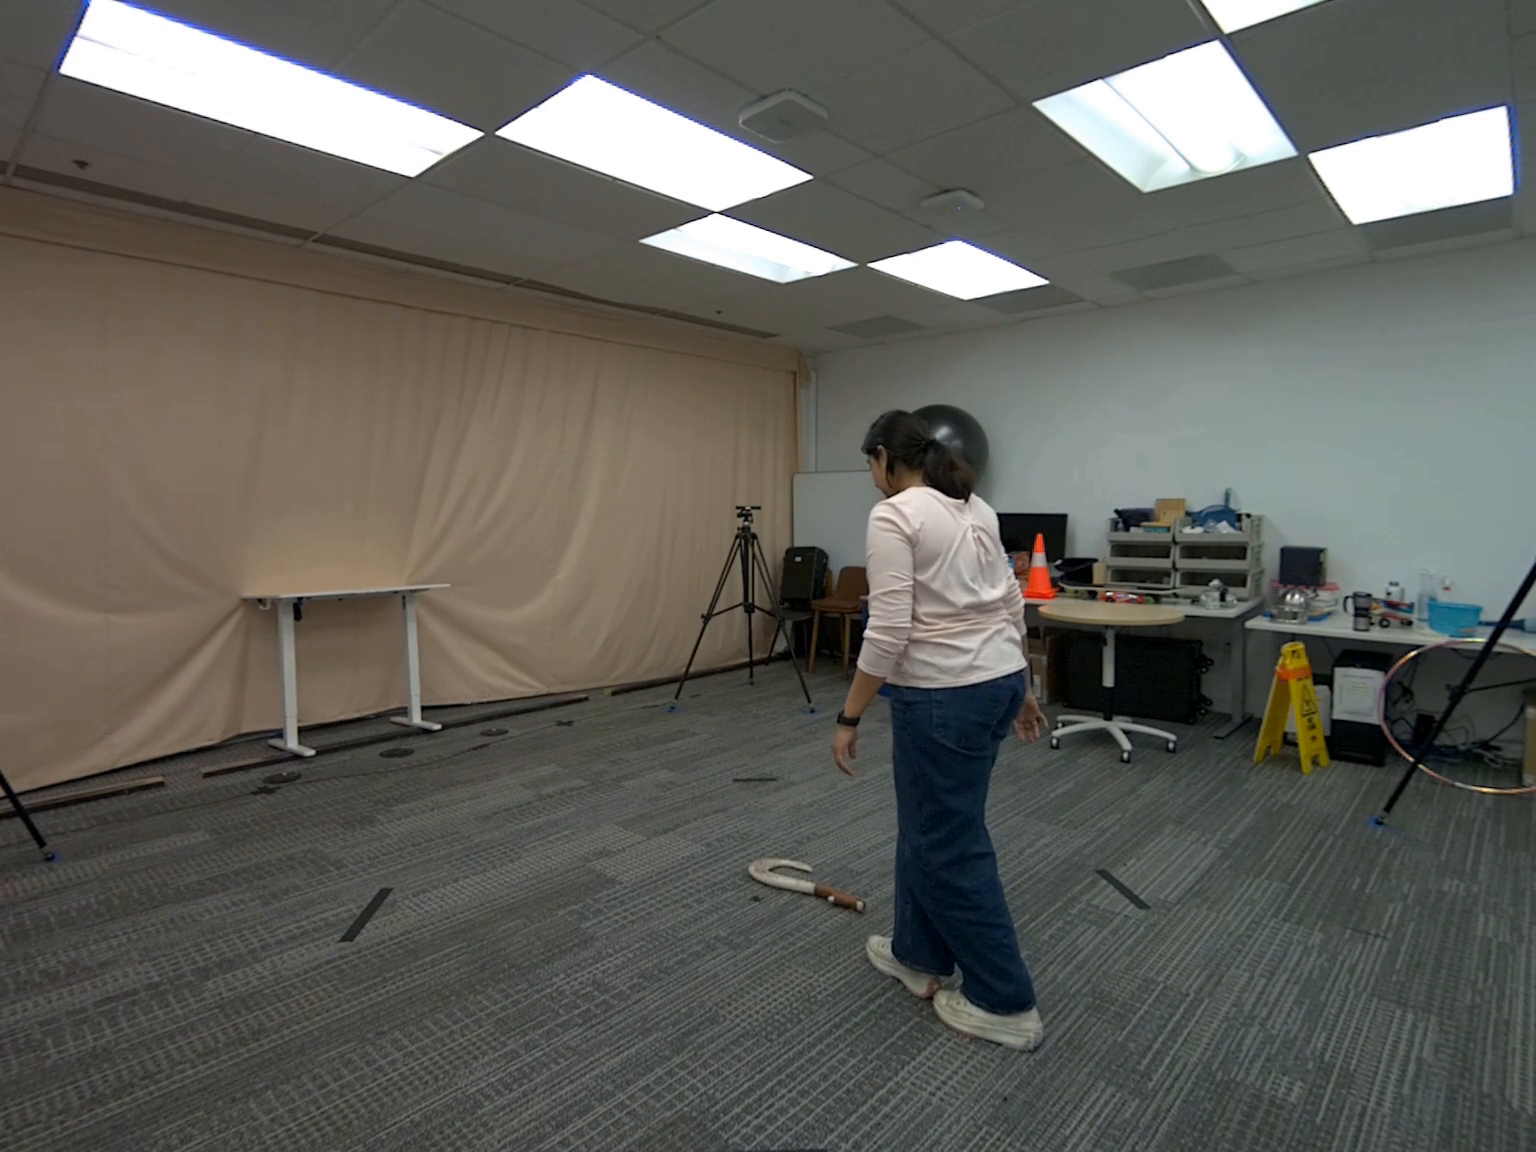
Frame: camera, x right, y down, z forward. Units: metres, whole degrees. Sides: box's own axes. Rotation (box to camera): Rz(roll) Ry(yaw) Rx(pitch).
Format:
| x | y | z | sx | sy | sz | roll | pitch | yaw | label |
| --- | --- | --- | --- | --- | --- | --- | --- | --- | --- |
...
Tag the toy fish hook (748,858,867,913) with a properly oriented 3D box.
| x | y | z | sx | sy | sz | roll | pitch | yaw | label |
| --- | --- | --- | --- | --- | --- | --- | --- | --- | --- |
| 0.162 | 1.113 | 3.076 | 0.523 | 0.048 | 0.218 | 4 | 8 | 39 | toy fish hook |
